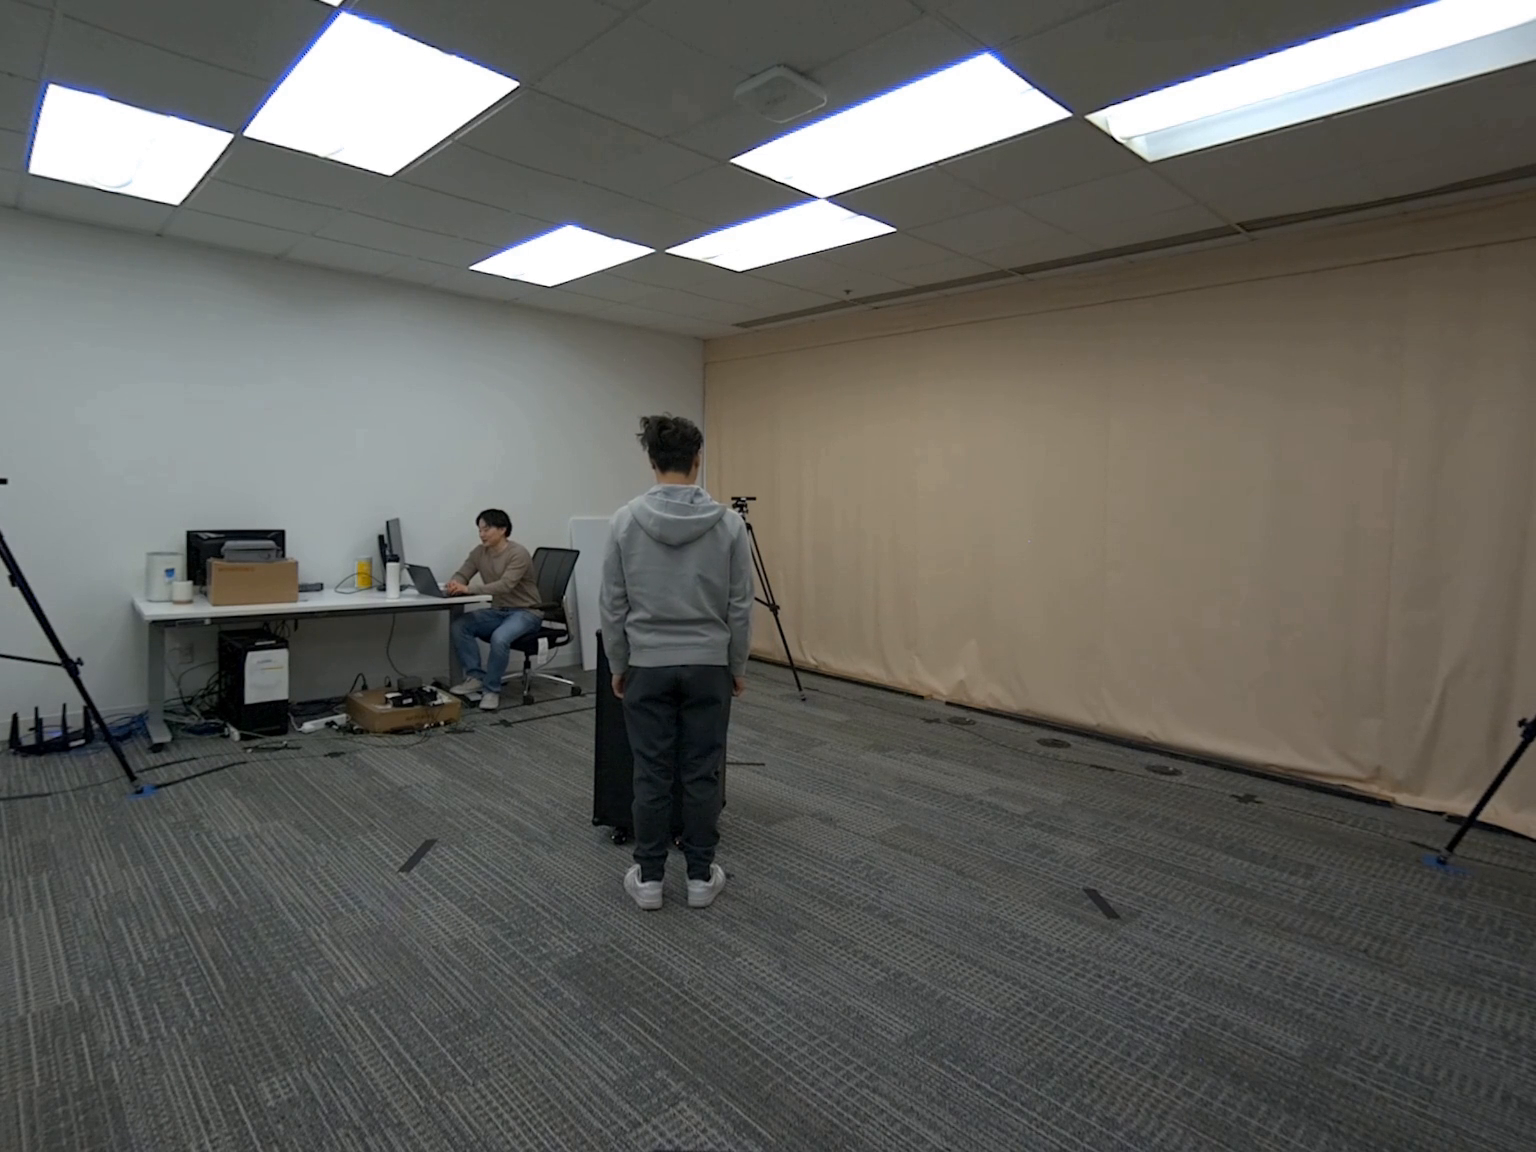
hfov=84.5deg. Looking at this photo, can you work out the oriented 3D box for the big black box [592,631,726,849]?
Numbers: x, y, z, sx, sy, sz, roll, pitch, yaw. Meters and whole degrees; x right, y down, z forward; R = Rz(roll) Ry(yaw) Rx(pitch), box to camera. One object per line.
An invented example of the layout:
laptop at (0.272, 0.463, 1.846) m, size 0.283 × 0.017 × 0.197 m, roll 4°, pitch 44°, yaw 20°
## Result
big black box at (-0.442, 0.642, 3.505) m, size 0.525 × 0.860 × 0.393 m, roll 2°, pitch 2°, yaw 9°
